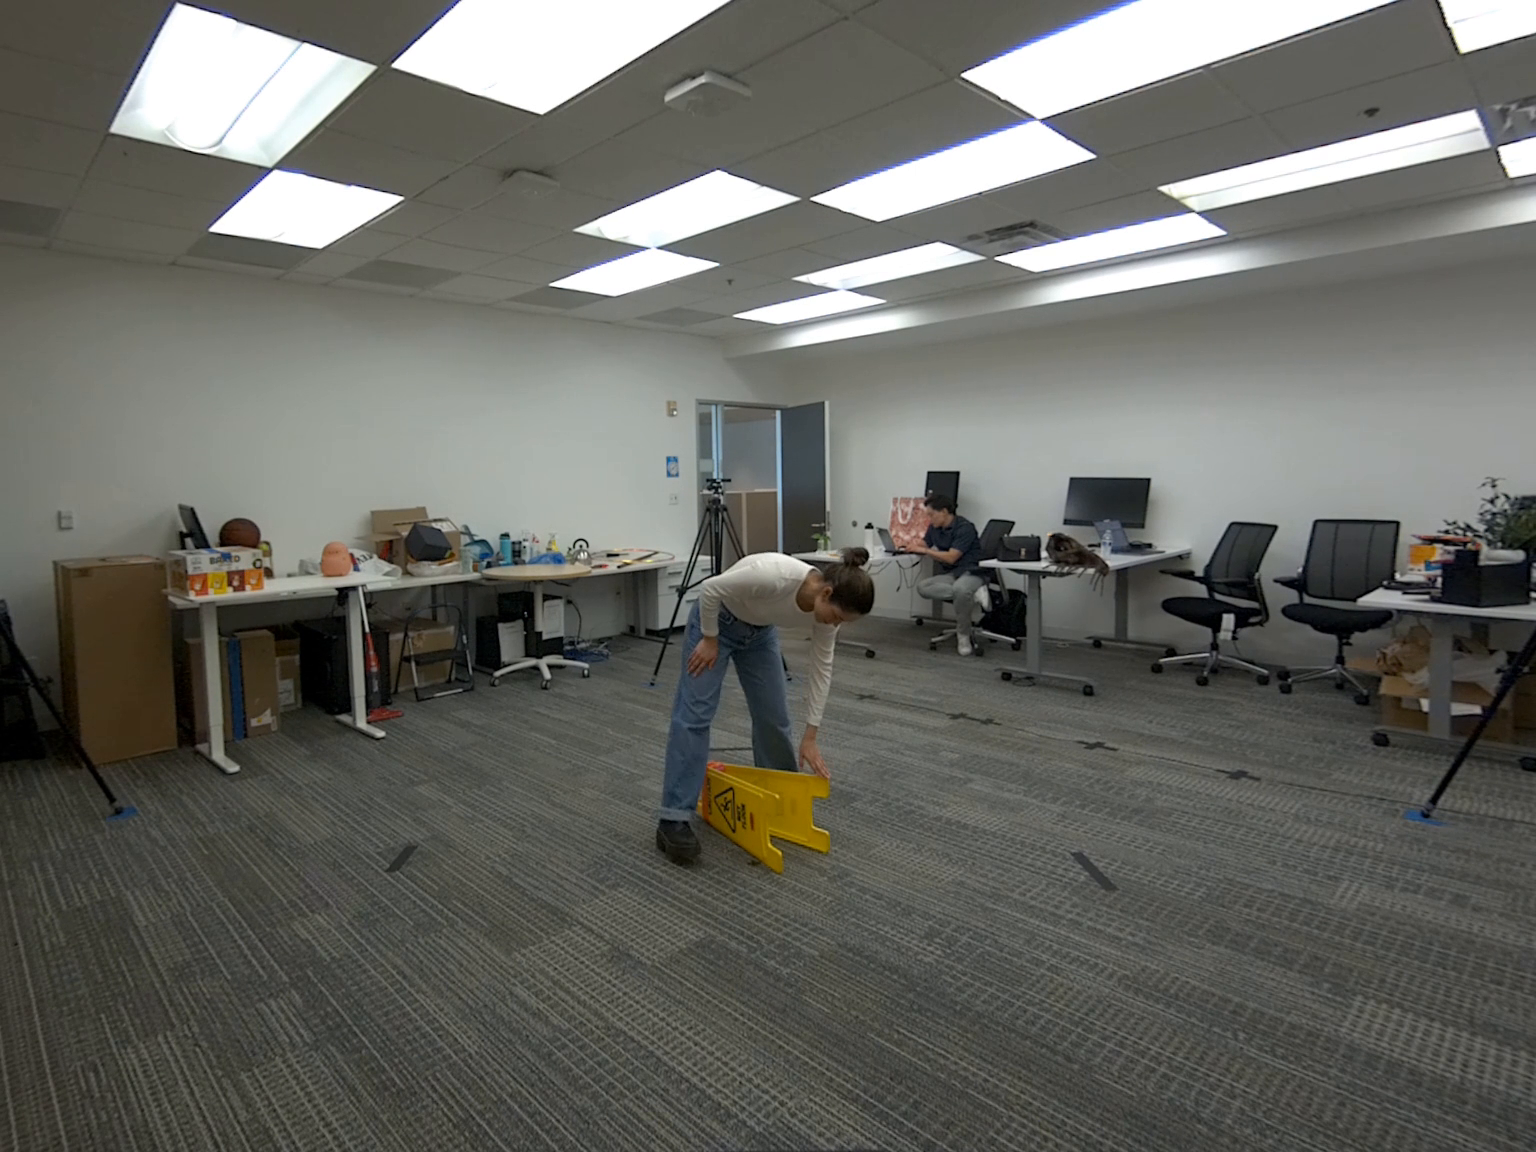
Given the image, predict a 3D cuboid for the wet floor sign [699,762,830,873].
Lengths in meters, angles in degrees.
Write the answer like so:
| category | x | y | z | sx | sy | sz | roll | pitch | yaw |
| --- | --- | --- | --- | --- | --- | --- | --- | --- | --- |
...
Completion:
| category | x | y | z | sx | sy | sz | roll | pitch | yaw |
| --- | --- | --- | --- | --- | --- | --- | --- | --- | --- |
| wet floor sign | -0.094 | 0.888 | 3.334 | 0.282 | 0.281 | 0.665 | -4 | 5 | -43 |
